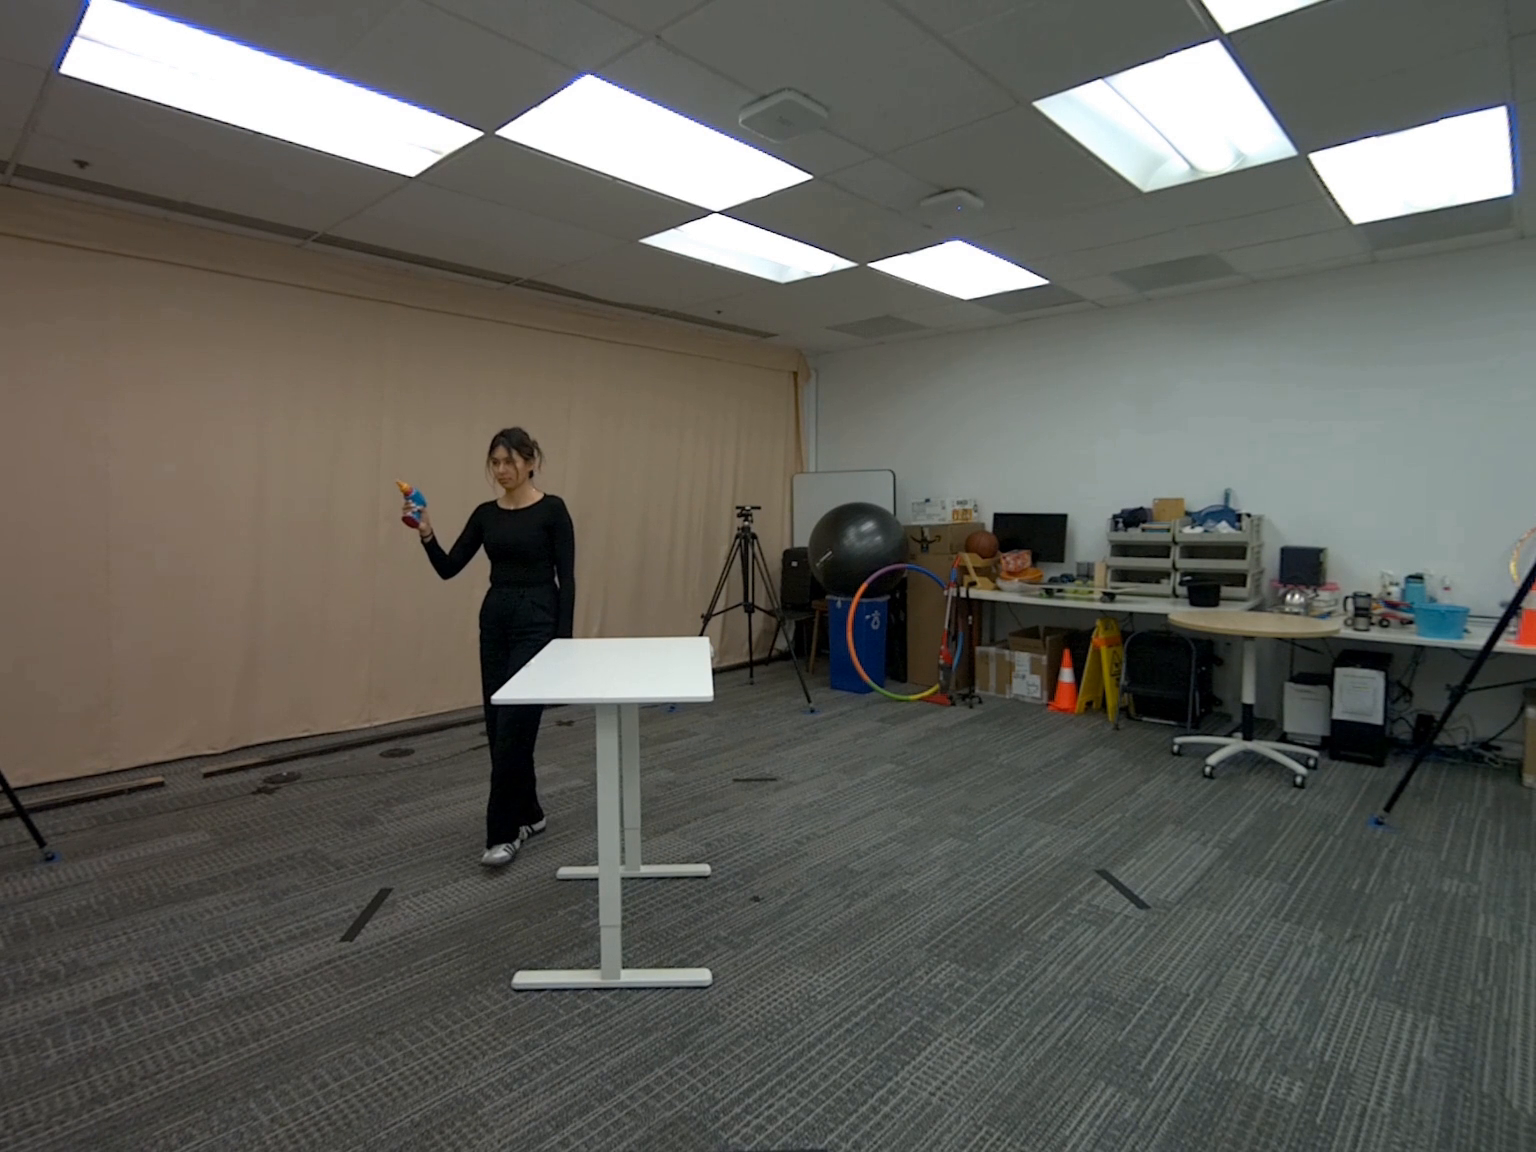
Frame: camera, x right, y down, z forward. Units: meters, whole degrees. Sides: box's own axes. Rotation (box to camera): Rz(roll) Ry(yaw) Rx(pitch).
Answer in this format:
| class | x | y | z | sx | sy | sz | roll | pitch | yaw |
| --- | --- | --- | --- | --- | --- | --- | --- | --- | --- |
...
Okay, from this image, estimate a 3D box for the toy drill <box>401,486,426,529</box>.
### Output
| class | x | y | z | sx | sy | sz | roll | pitch | yaw |
| --- | --- | --- | --- | --- | --- | --- | --- | --- | --- |
| toy drill | -1.358 | -0.283 | 3.180 | 0.062 | 0.149 | 0.164 | -12 | -40 | 12 |
